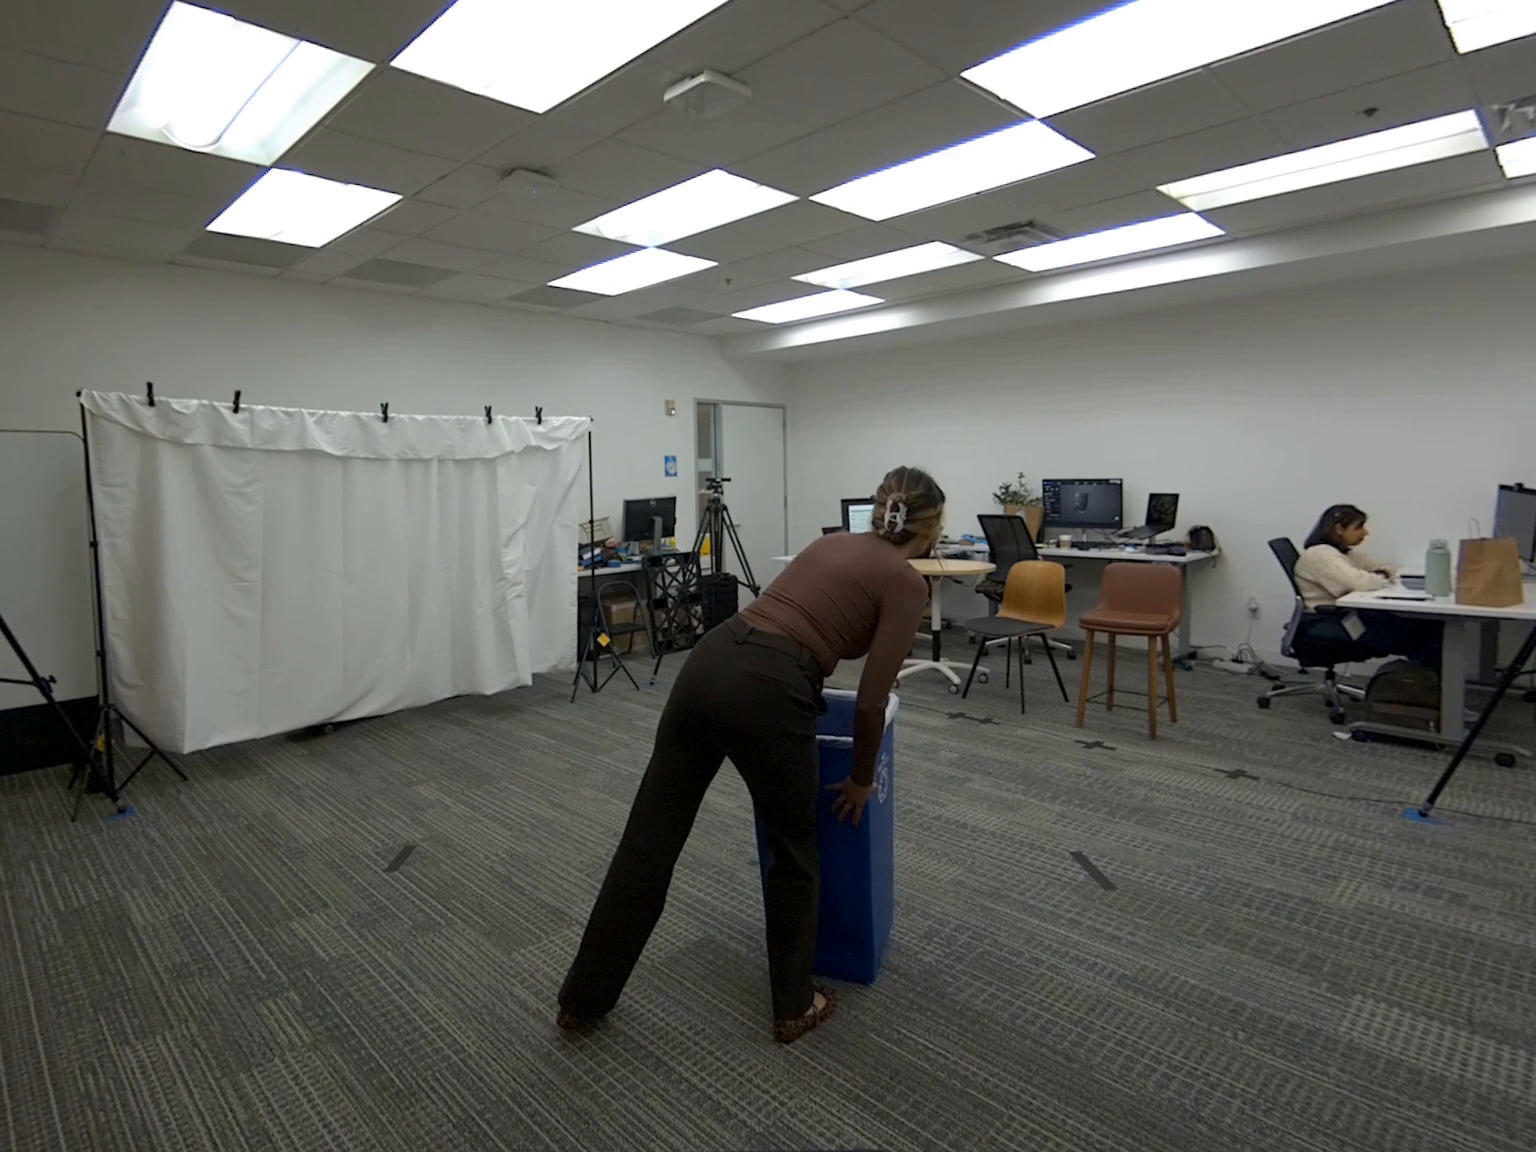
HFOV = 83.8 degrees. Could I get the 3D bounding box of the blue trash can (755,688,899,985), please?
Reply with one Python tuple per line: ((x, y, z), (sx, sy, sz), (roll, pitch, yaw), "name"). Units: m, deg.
((0.186, 0.728, 2.485), (0.386, 0.706, 0.370), (1, 11, 21), "blue trash can")
